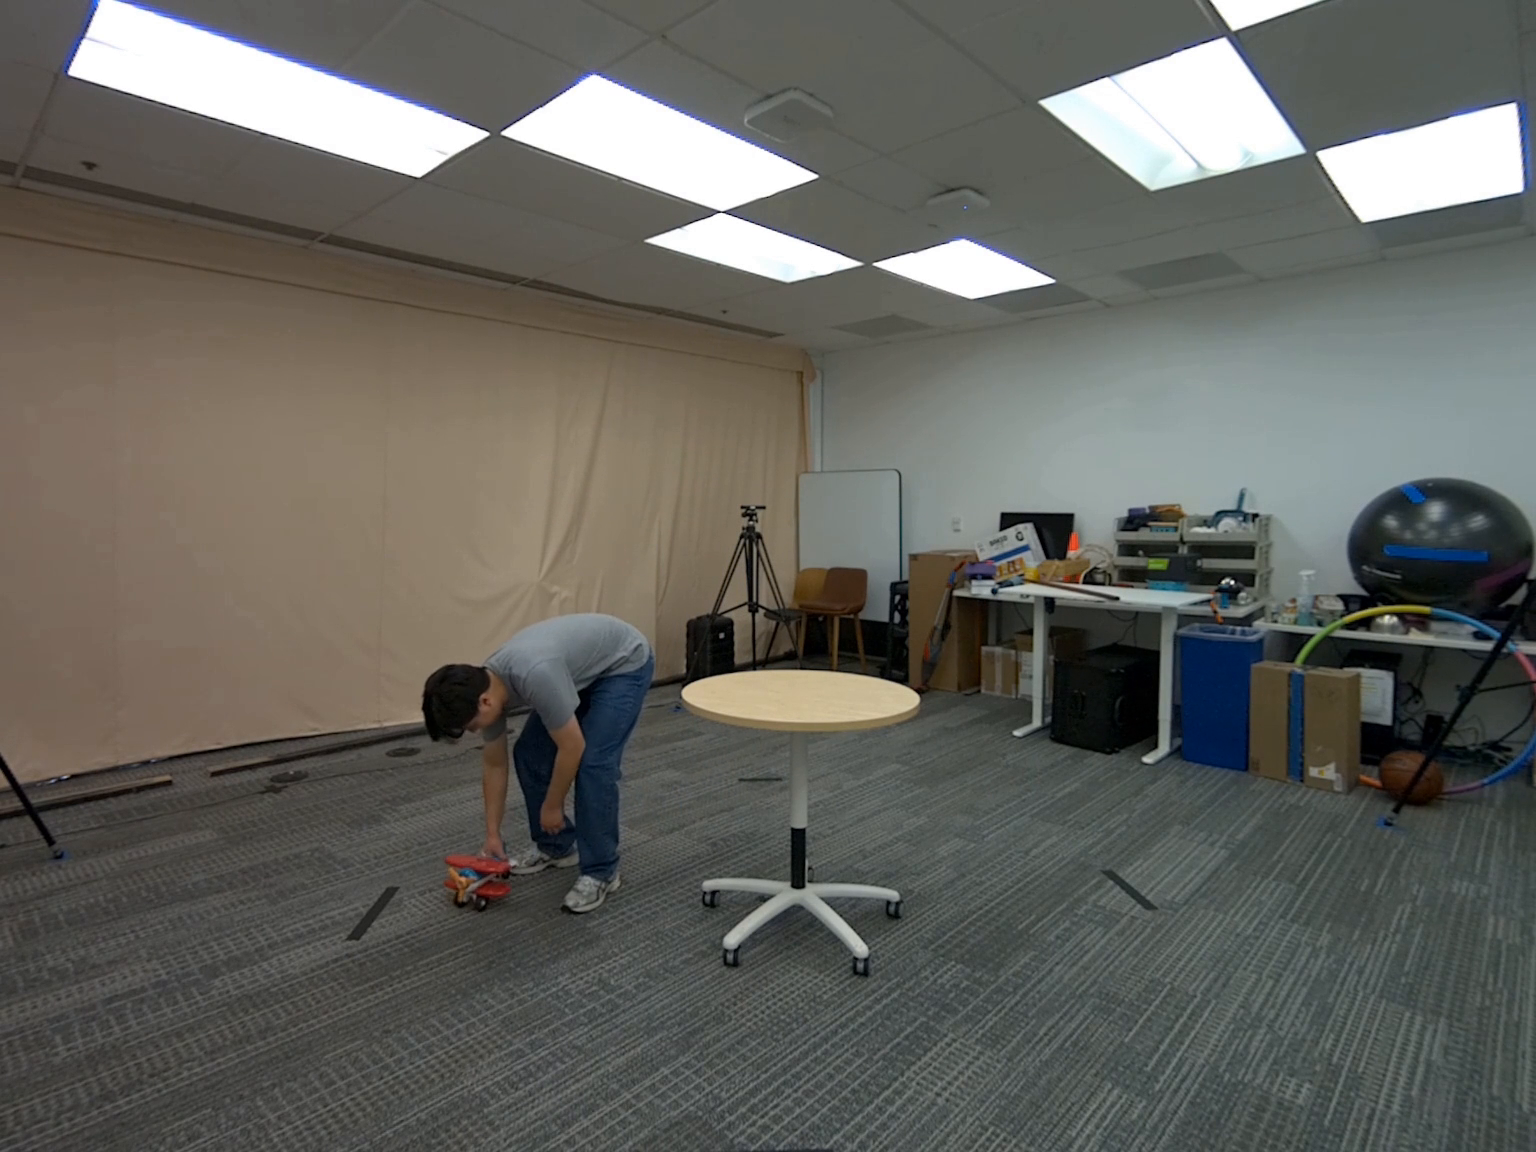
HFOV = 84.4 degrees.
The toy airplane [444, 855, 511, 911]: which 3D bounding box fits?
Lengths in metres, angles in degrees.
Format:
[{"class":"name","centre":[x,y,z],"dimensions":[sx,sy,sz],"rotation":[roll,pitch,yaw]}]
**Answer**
[{"class":"toy airplane","centre":[-1.017,1.059,3.005],"dimensions":[0.249,0.155,0.263],"rotation":[-6,15,-7]}]
